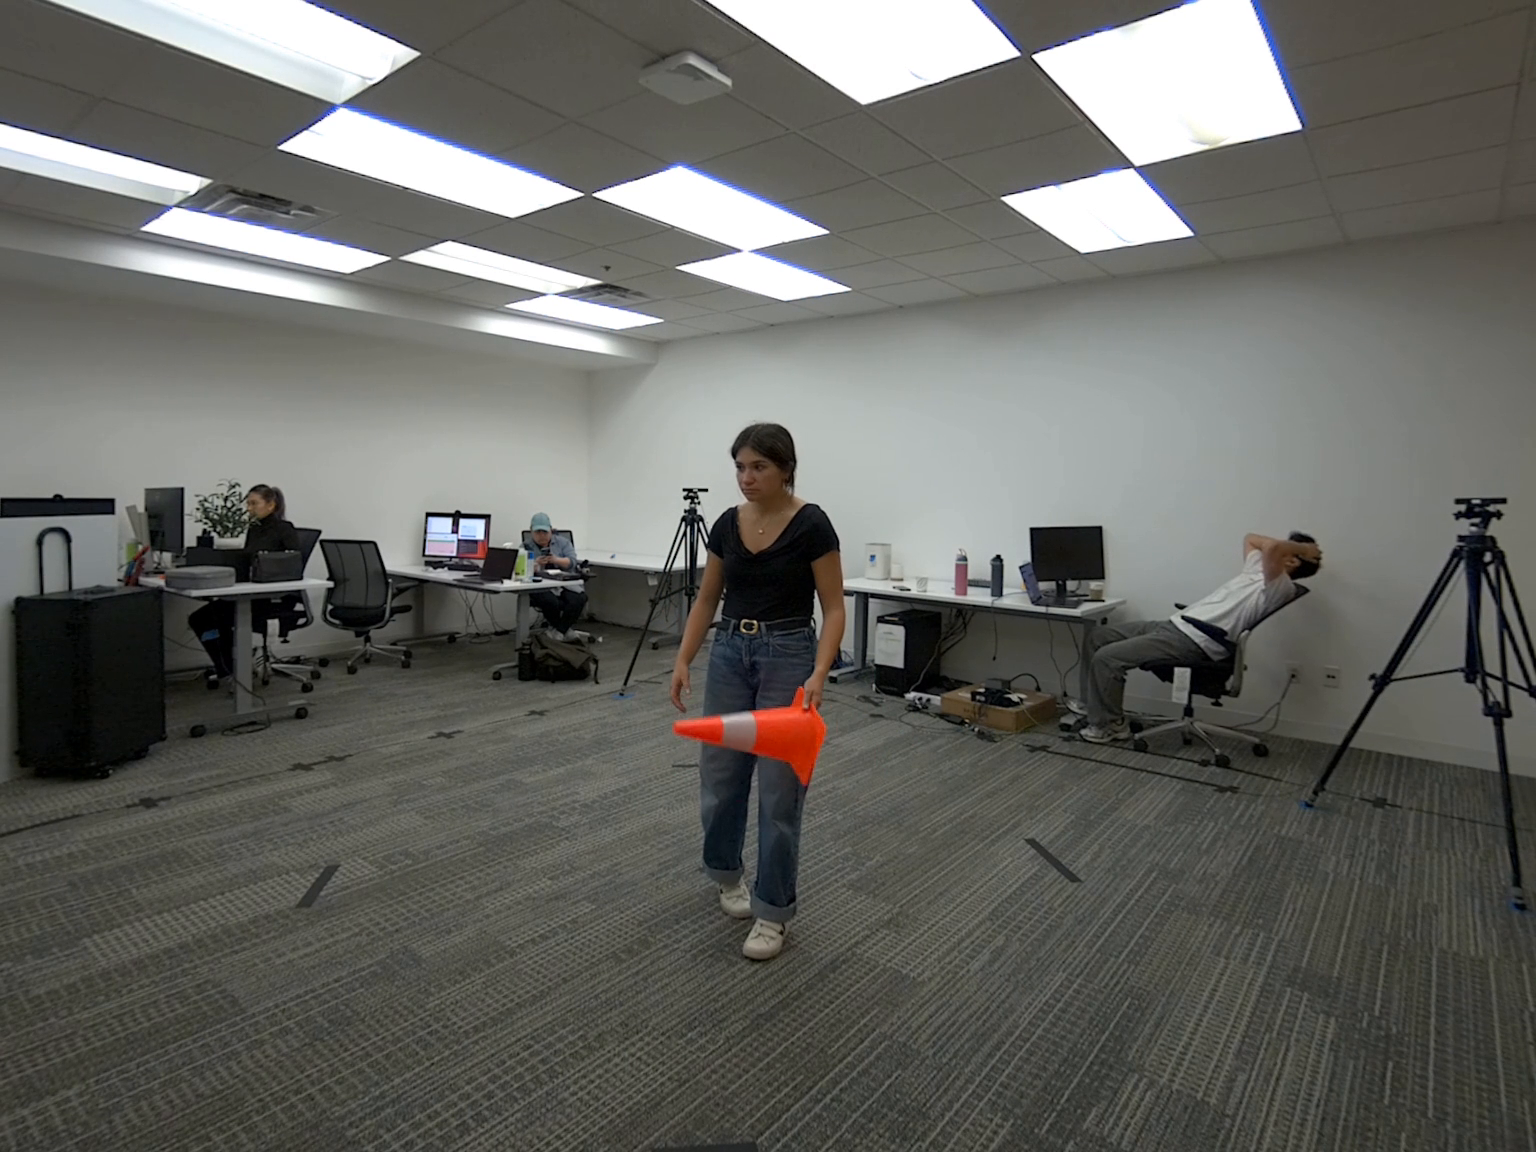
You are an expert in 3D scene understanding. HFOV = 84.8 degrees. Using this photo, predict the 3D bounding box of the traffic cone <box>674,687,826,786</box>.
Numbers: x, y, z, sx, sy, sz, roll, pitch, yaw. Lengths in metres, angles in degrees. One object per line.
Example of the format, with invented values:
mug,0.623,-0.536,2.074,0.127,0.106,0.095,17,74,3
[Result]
traffic cone,-0.057,0.407,2.292,0.374,0.202,0.211,6,22,-23
